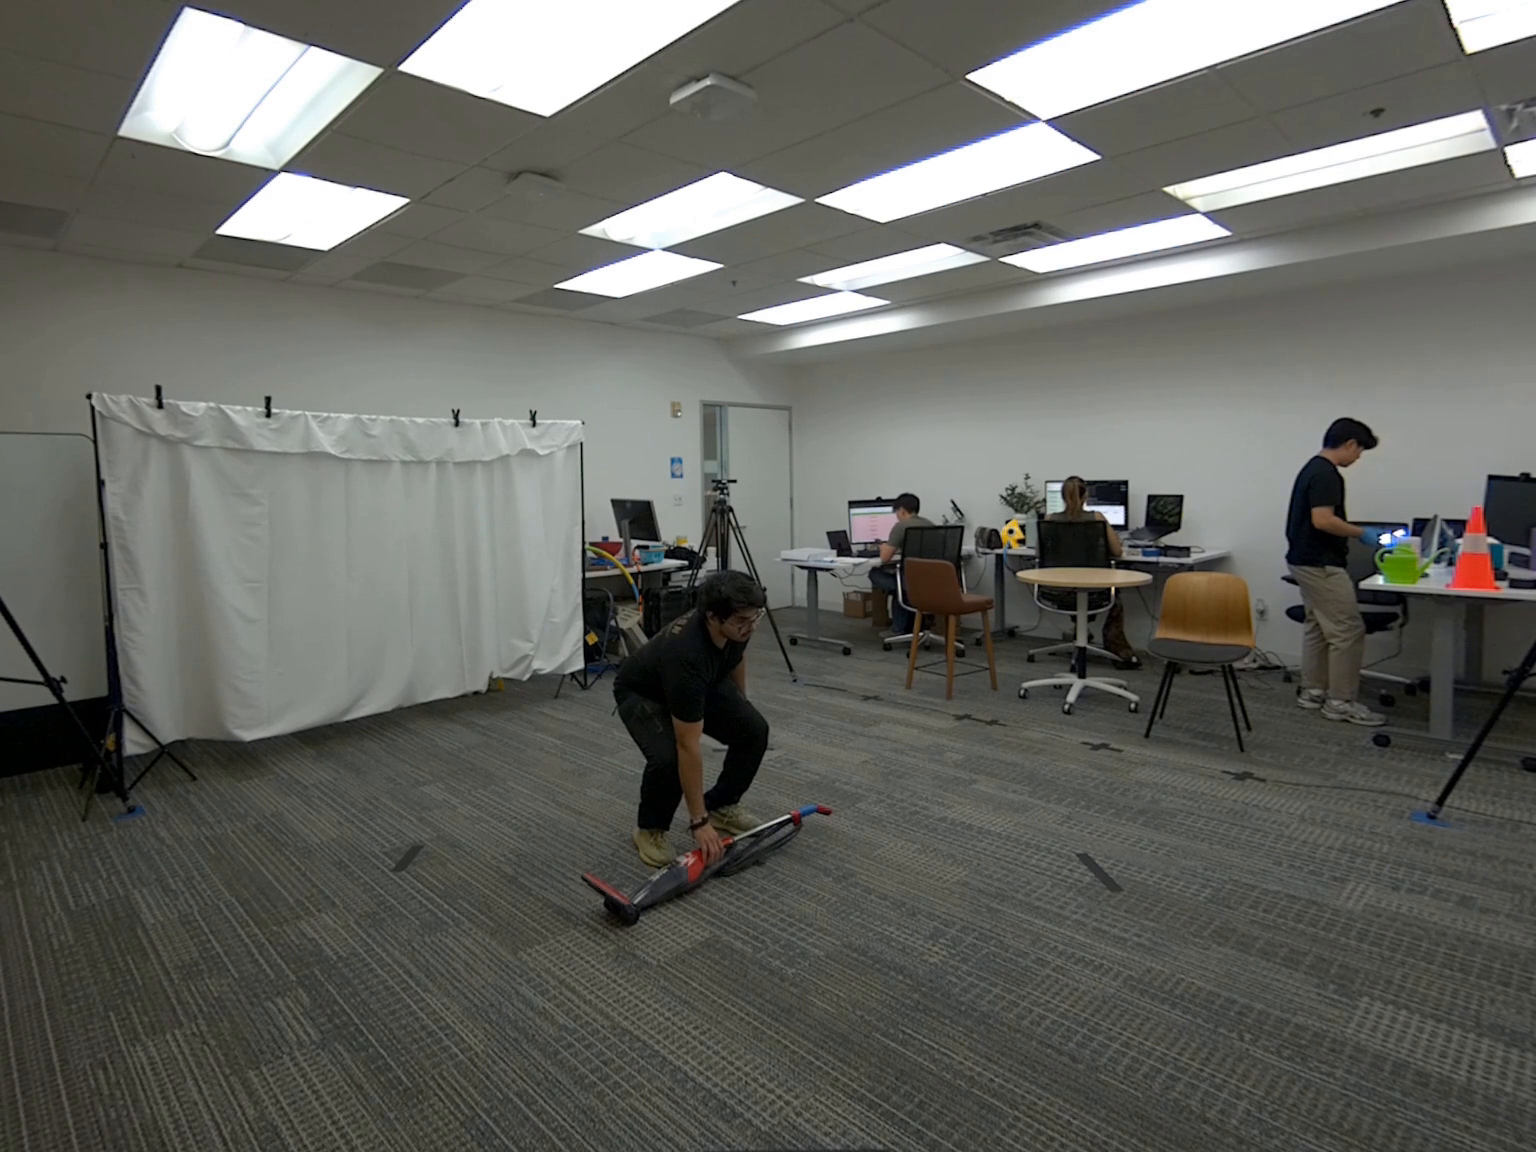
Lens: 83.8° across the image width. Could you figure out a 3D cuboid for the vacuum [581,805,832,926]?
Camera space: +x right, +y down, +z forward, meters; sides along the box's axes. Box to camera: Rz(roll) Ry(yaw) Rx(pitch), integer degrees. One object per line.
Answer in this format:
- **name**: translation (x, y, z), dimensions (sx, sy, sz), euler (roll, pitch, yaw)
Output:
- **vacuum**: translation (-0.124, 0.996, 3.059), dimensions (1.022, 0.143, 0.261), euler (-6, 9, -42)
